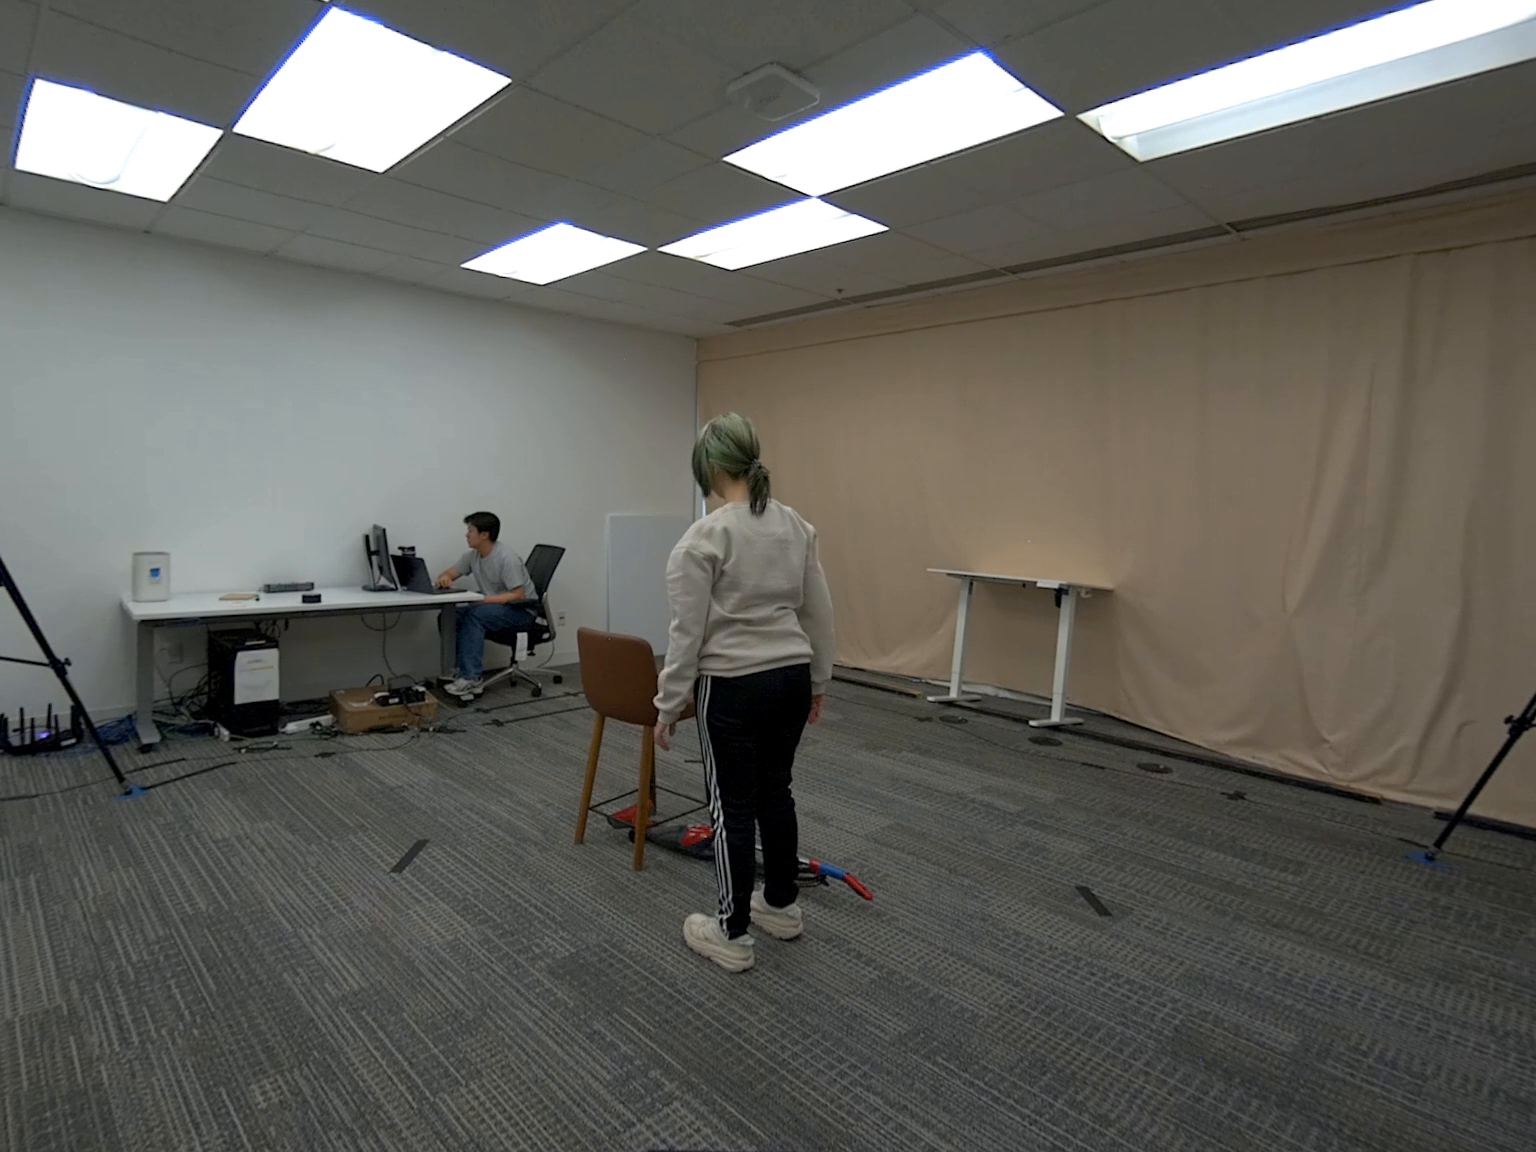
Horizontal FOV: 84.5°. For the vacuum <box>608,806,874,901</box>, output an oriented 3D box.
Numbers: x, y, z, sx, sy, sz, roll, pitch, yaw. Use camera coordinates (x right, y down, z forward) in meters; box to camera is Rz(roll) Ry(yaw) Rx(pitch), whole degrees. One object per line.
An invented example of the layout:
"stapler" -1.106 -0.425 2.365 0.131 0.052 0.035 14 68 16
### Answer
"vacuum" -0.106 1.054 3.142 1.075 0.143 0.247 6 8 35
